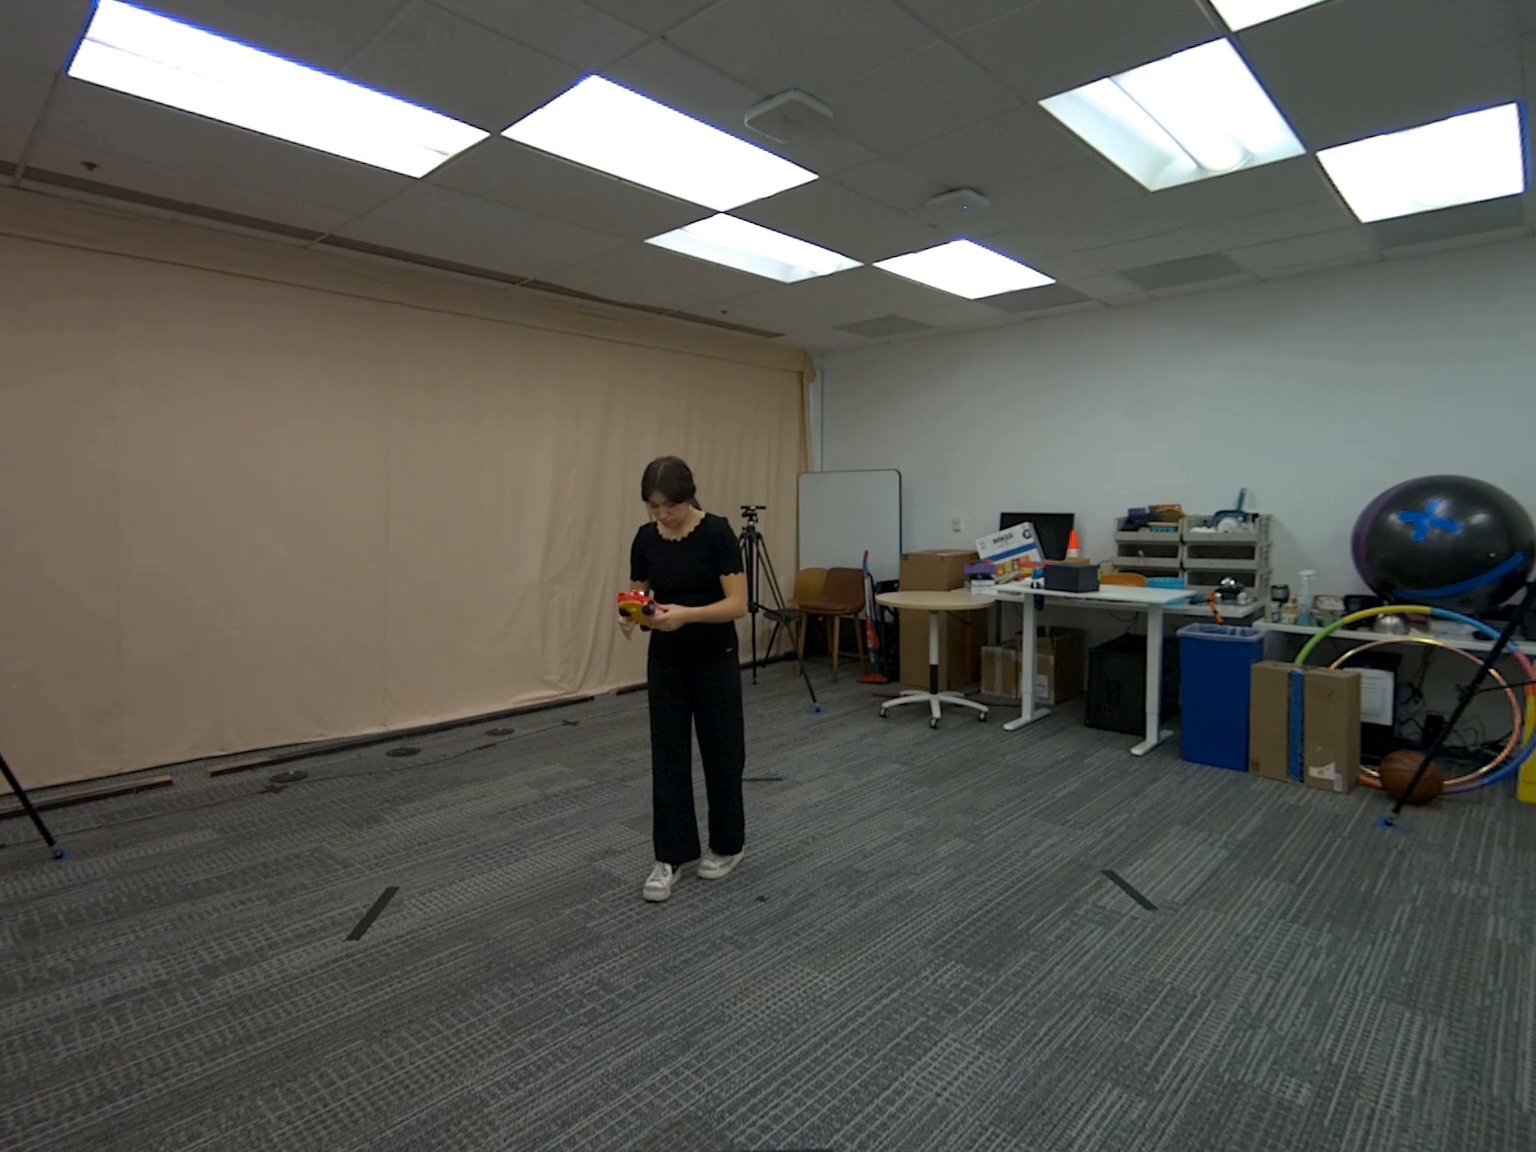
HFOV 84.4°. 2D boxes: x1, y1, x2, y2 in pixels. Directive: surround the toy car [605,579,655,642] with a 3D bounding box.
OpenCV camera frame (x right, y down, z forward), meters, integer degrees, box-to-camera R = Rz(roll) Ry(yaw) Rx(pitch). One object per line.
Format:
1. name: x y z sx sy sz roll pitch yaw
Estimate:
1. toy car: -0.417 0.115 2.812 0.133 0.084 0.246 -3 -37 21
